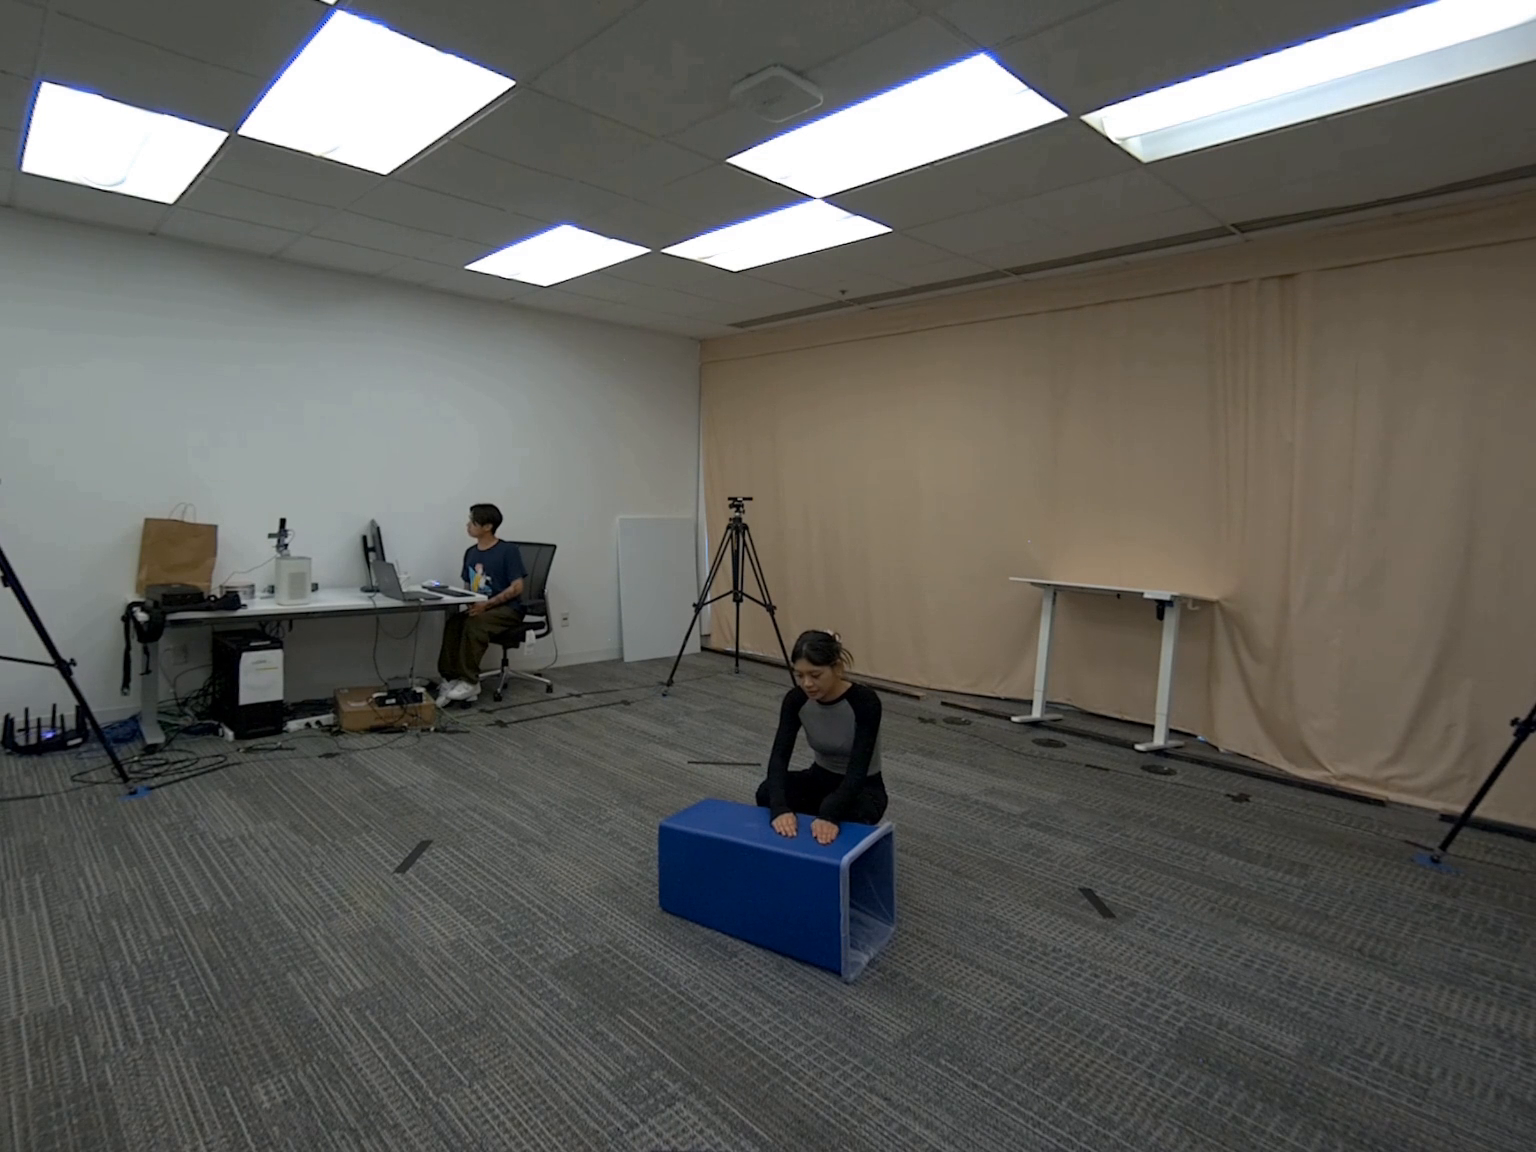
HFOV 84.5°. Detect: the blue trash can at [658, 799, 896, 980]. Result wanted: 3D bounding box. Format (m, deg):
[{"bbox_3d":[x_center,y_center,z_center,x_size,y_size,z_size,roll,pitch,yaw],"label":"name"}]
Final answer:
[{"bbox_3d":[0.007,0.974,2.757,0.729,0.377,0.367,2,5,32],"label":"blue trash can"}]
